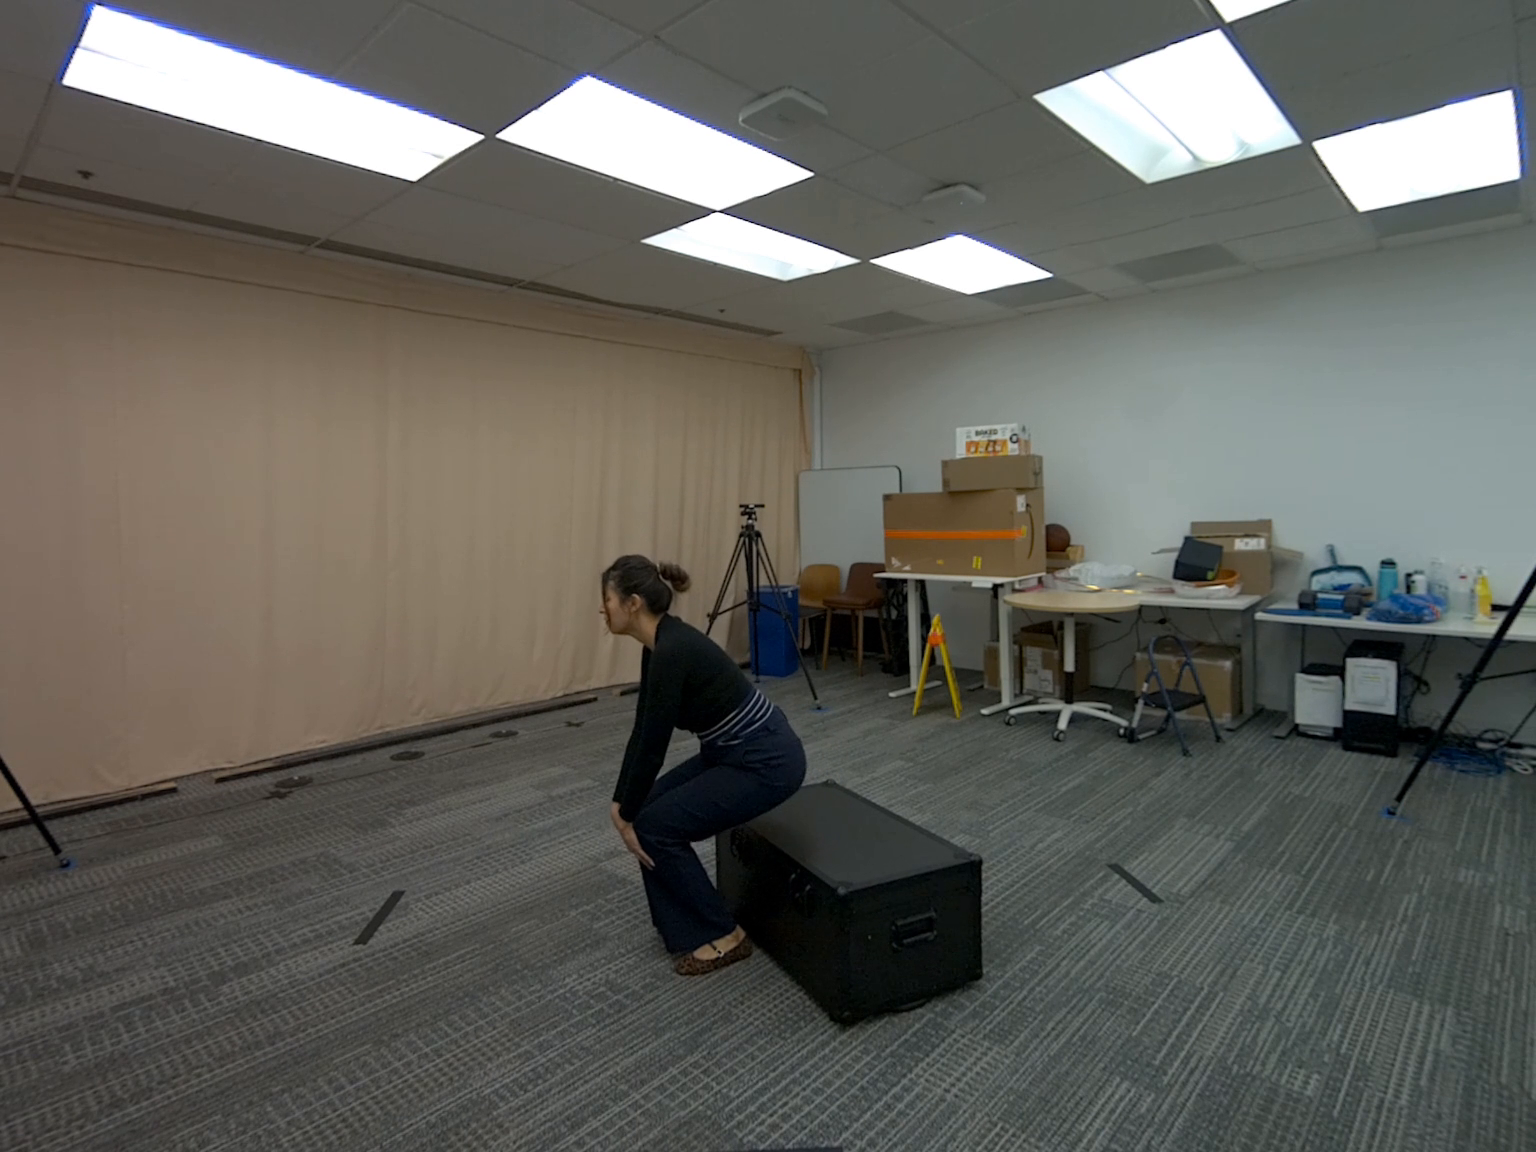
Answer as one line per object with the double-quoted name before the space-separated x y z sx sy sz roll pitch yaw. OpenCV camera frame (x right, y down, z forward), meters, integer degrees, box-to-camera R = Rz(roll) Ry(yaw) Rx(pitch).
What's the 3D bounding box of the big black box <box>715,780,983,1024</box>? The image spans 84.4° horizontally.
"big black box" 0.234 0.976 2.621 0.508 0.395 0.885 -3 5 -28
